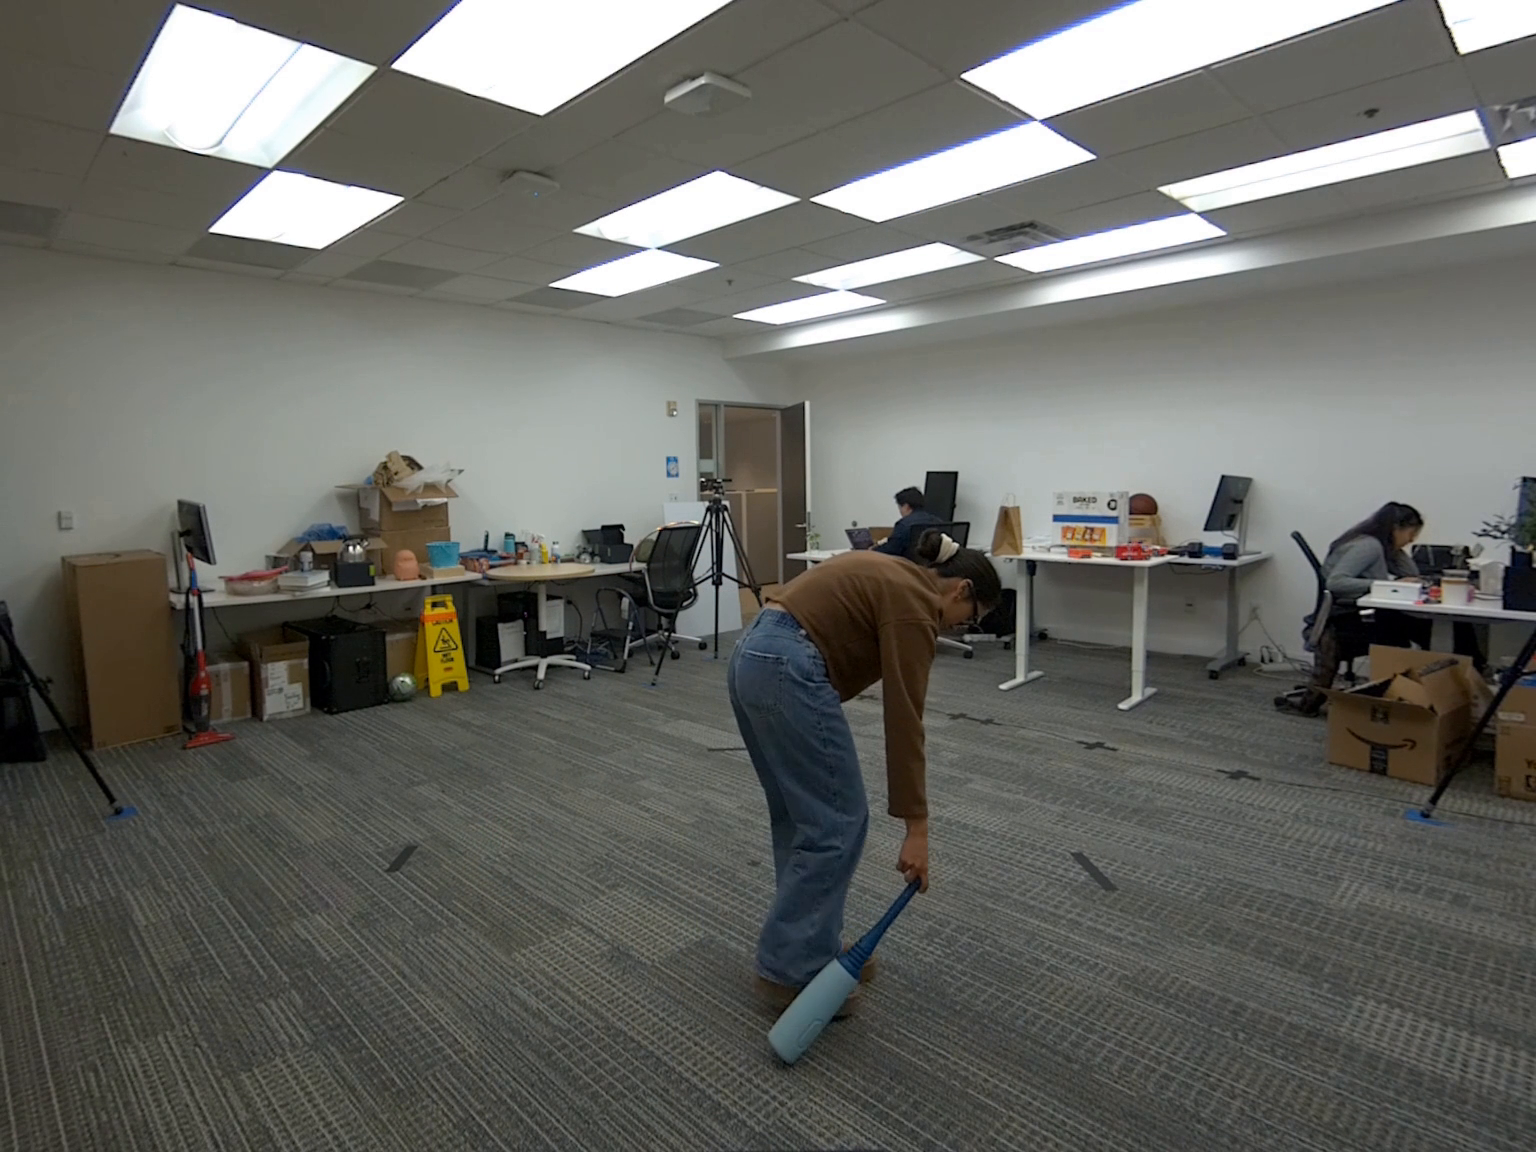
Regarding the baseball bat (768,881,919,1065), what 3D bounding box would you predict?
[{"bbox_3d":[0.209,0.959,2.094,0.543,0.087,0.091,-47,17,-10],"label":"baseball bat"}]
